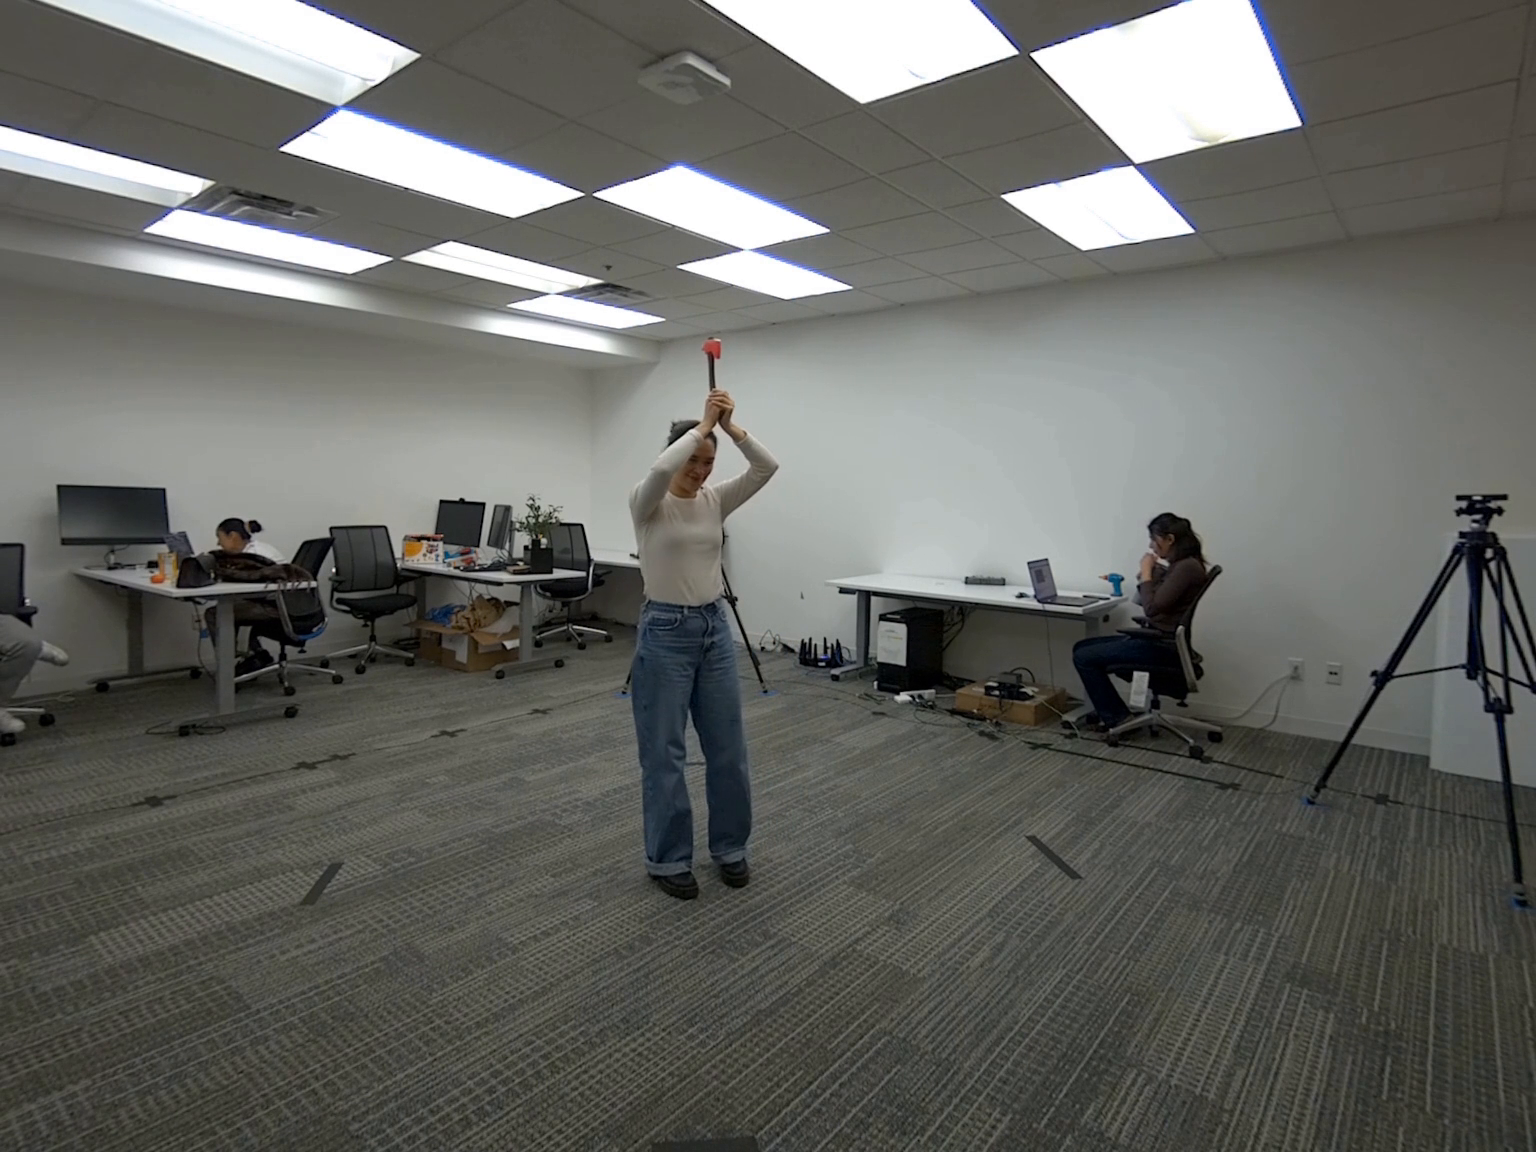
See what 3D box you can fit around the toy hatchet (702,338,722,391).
[{"bbox_3d":[-0.174,-0.669,2.803,0.029,0.274,0.132,-3,-14,-29],"label":"toy hatchet"}]
